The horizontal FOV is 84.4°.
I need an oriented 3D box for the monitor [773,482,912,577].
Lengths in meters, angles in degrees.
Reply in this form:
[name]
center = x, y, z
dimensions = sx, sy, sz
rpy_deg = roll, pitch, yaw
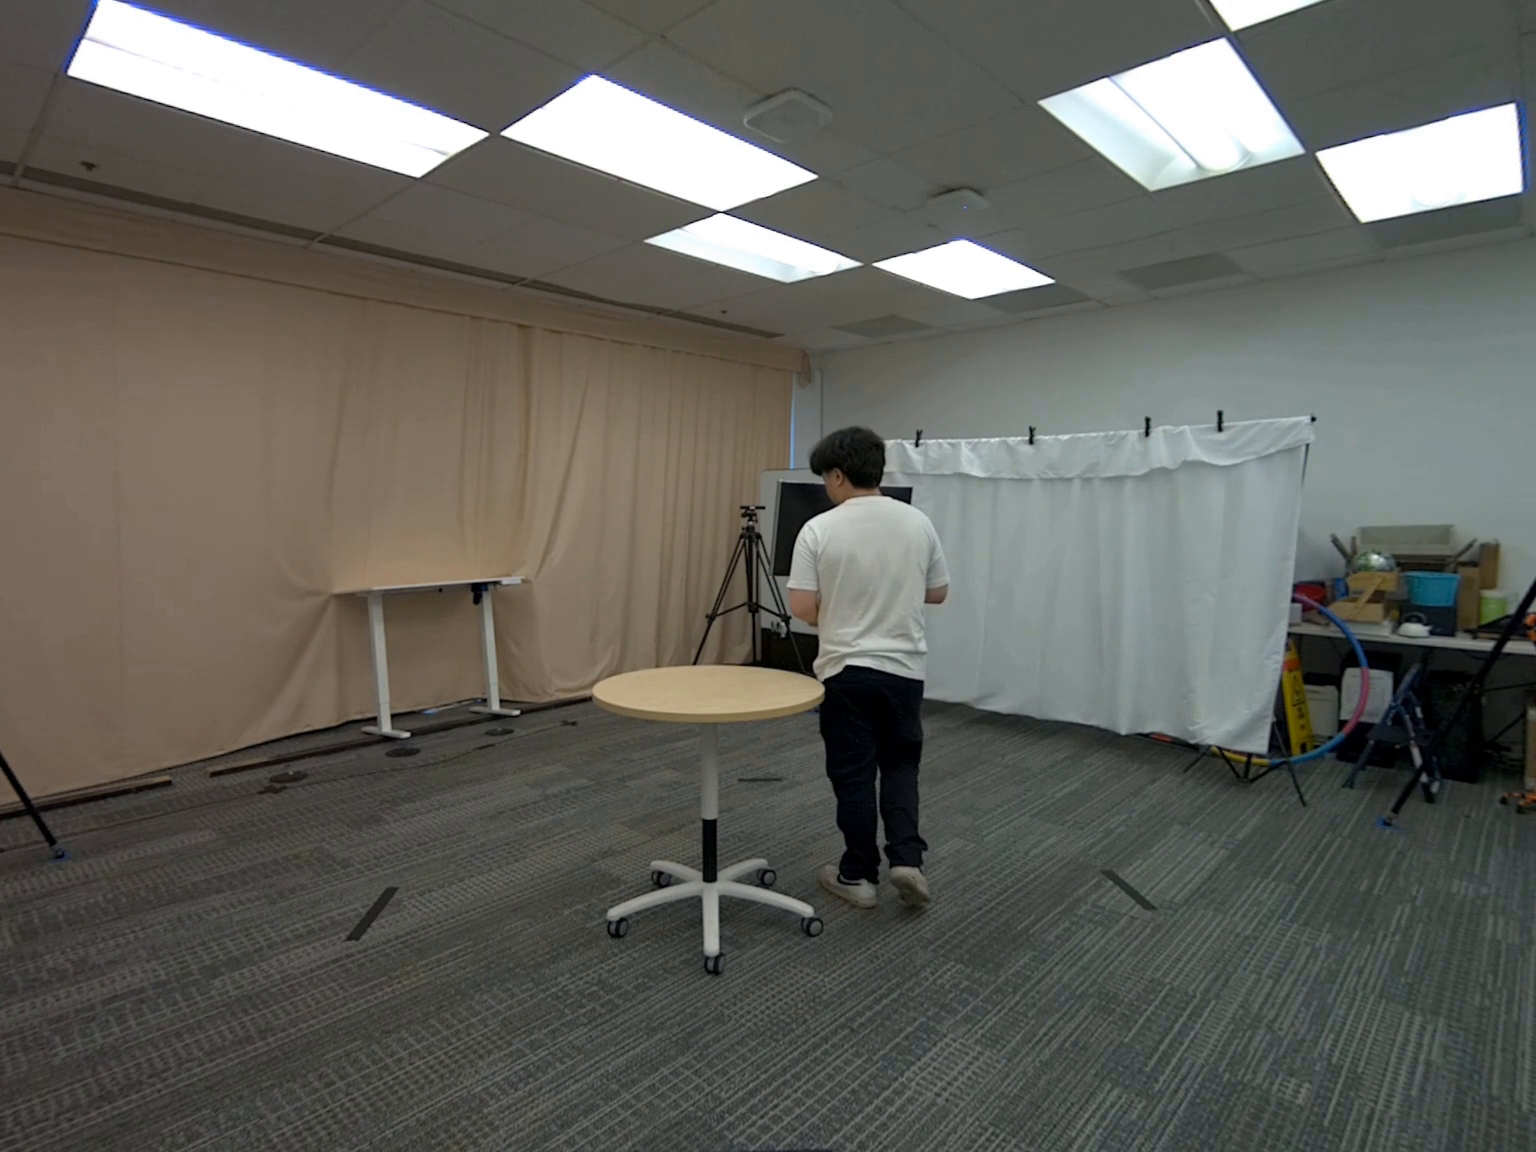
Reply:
[monitor]
center = 0.307, -0.081, 3.159
dimensions = 0.554, 0.552, 0.215
rpy_deg = 1, 6, -19
